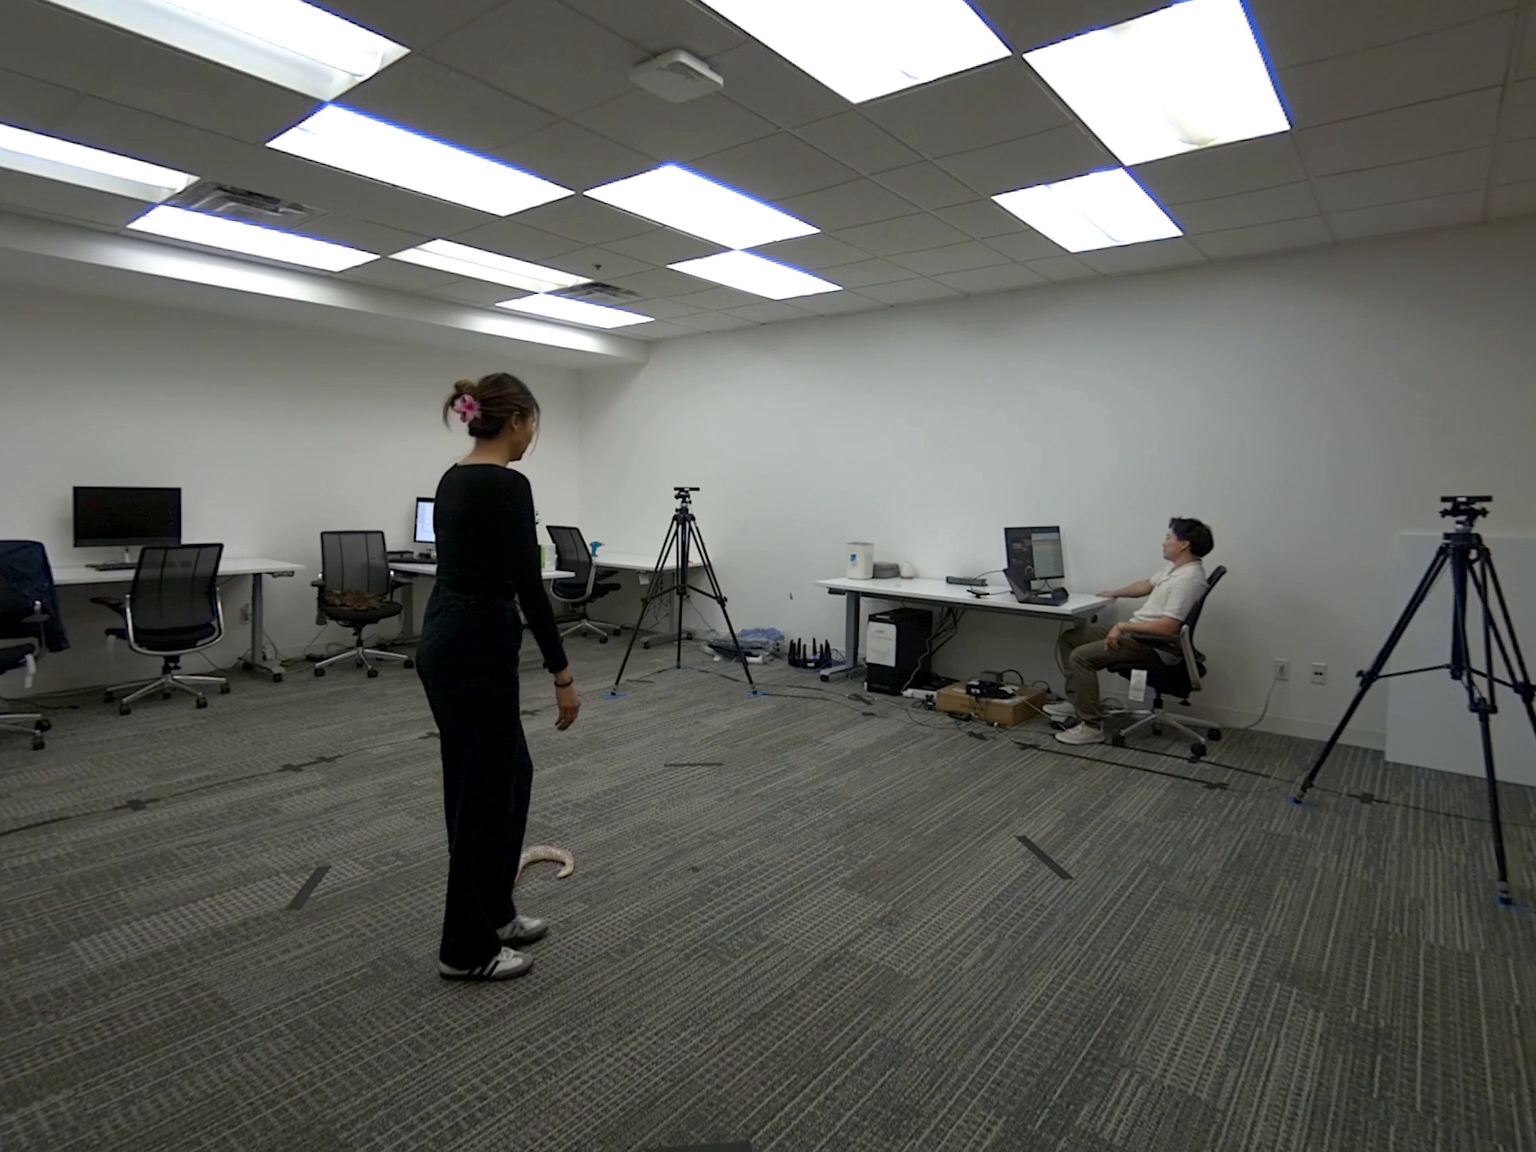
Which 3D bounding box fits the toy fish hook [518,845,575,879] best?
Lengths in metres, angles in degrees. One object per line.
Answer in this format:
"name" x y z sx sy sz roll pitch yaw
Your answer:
"toy fish hook" -0.837 1.050 2.951 0.227 0.048 0.503 0 6 9
